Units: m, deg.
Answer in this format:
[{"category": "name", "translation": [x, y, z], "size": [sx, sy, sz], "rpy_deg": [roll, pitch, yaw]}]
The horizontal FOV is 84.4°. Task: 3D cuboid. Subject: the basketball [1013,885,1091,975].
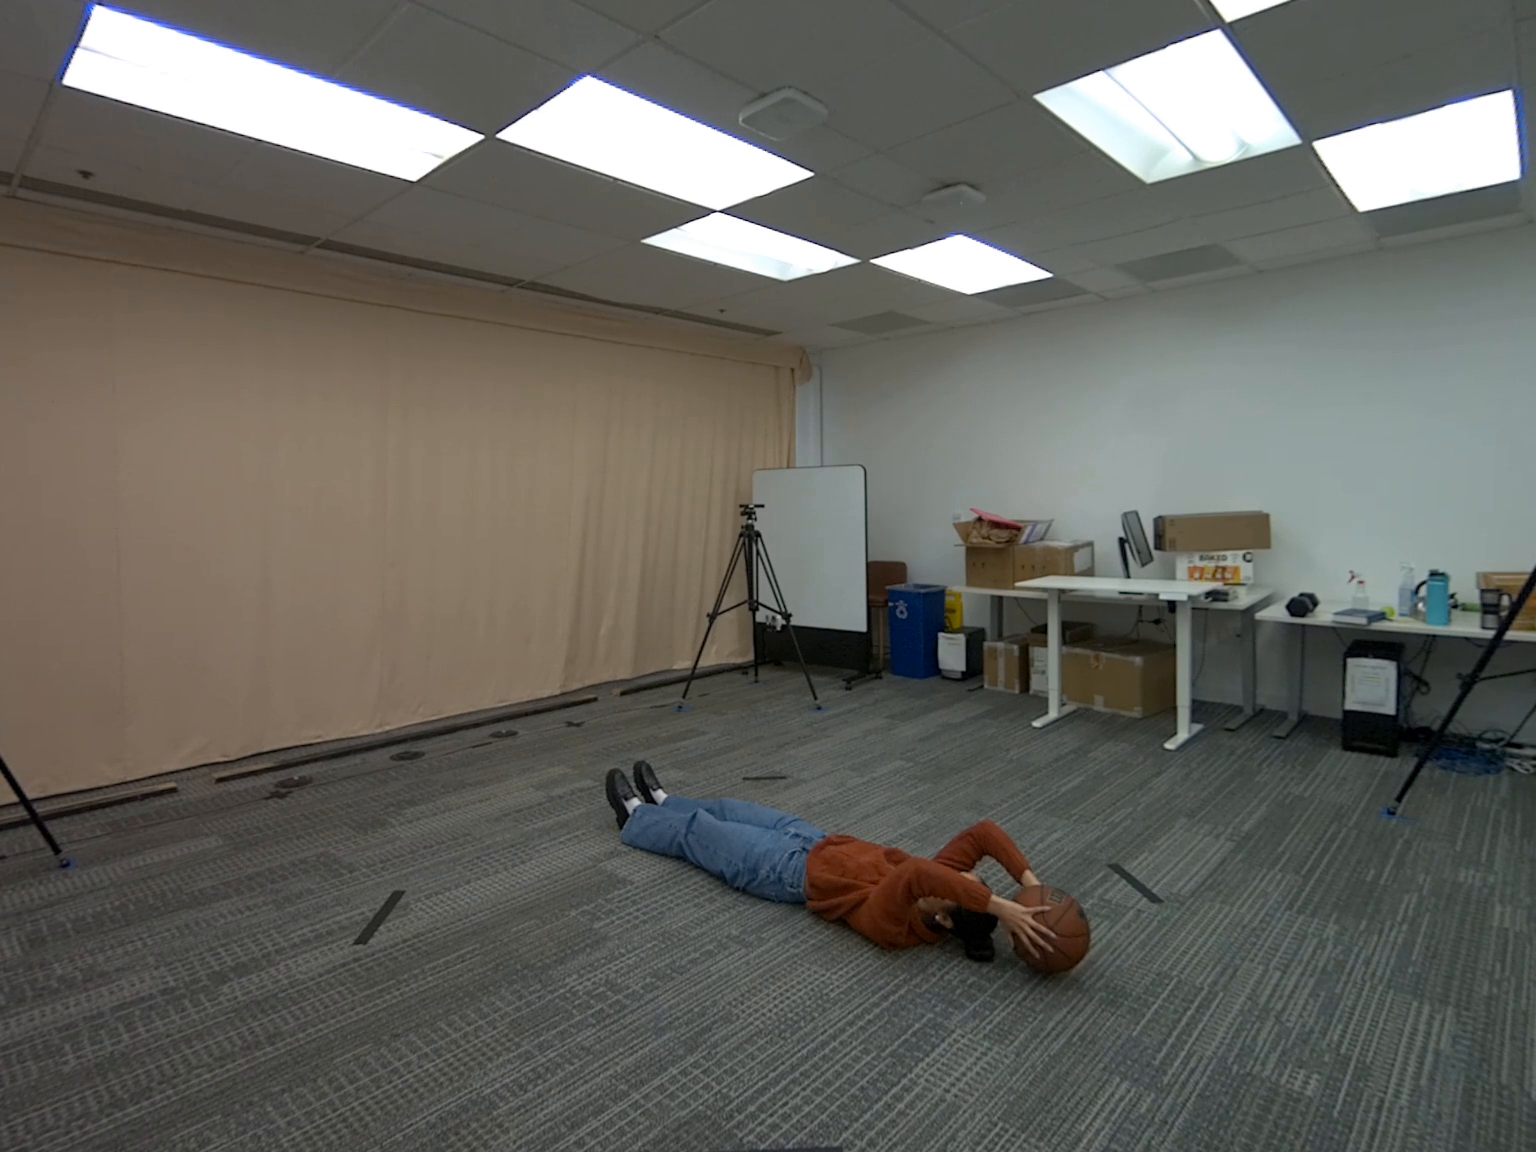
[{"category": "basketball", "translation": [0.828, 1.027, 2.456], "size": [0.235, 0.235, 0.237], "rpy_deg": [2, 5, -2]}]
